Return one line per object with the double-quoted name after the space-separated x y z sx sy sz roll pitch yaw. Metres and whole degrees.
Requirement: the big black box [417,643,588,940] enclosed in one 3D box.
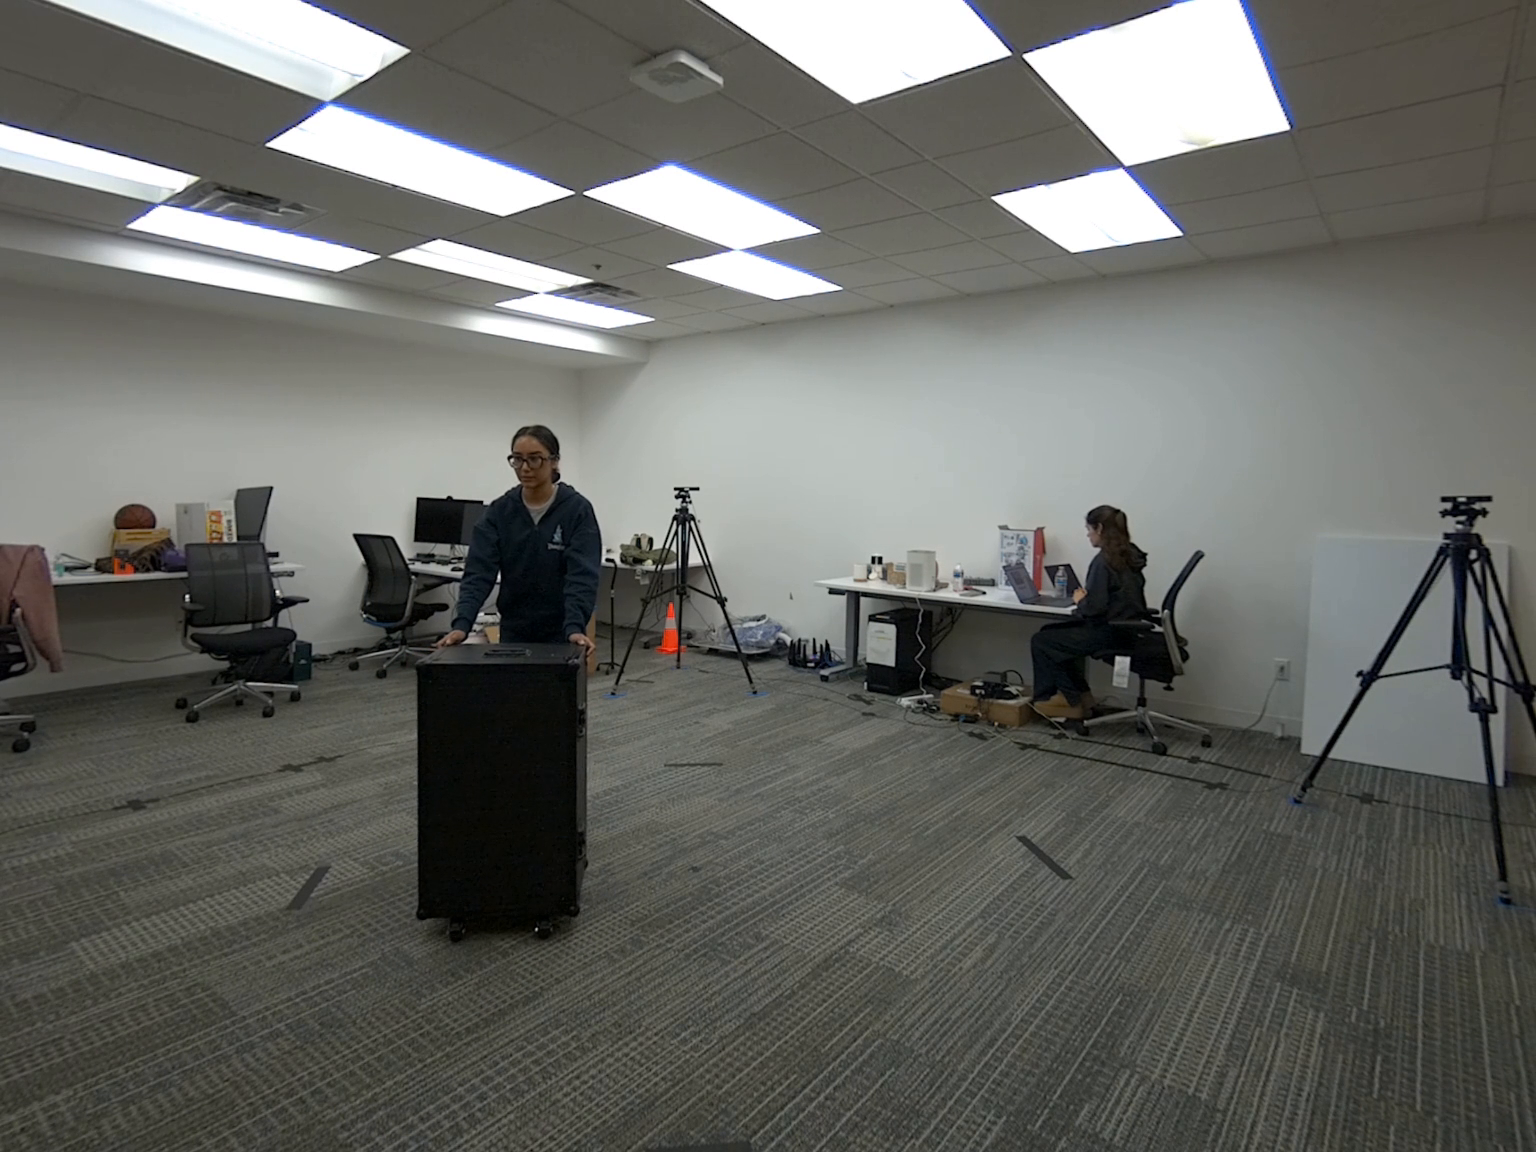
-0.859 0.668 2.761 0.519 0.860 0.398 0 2 -4 "big black box"
